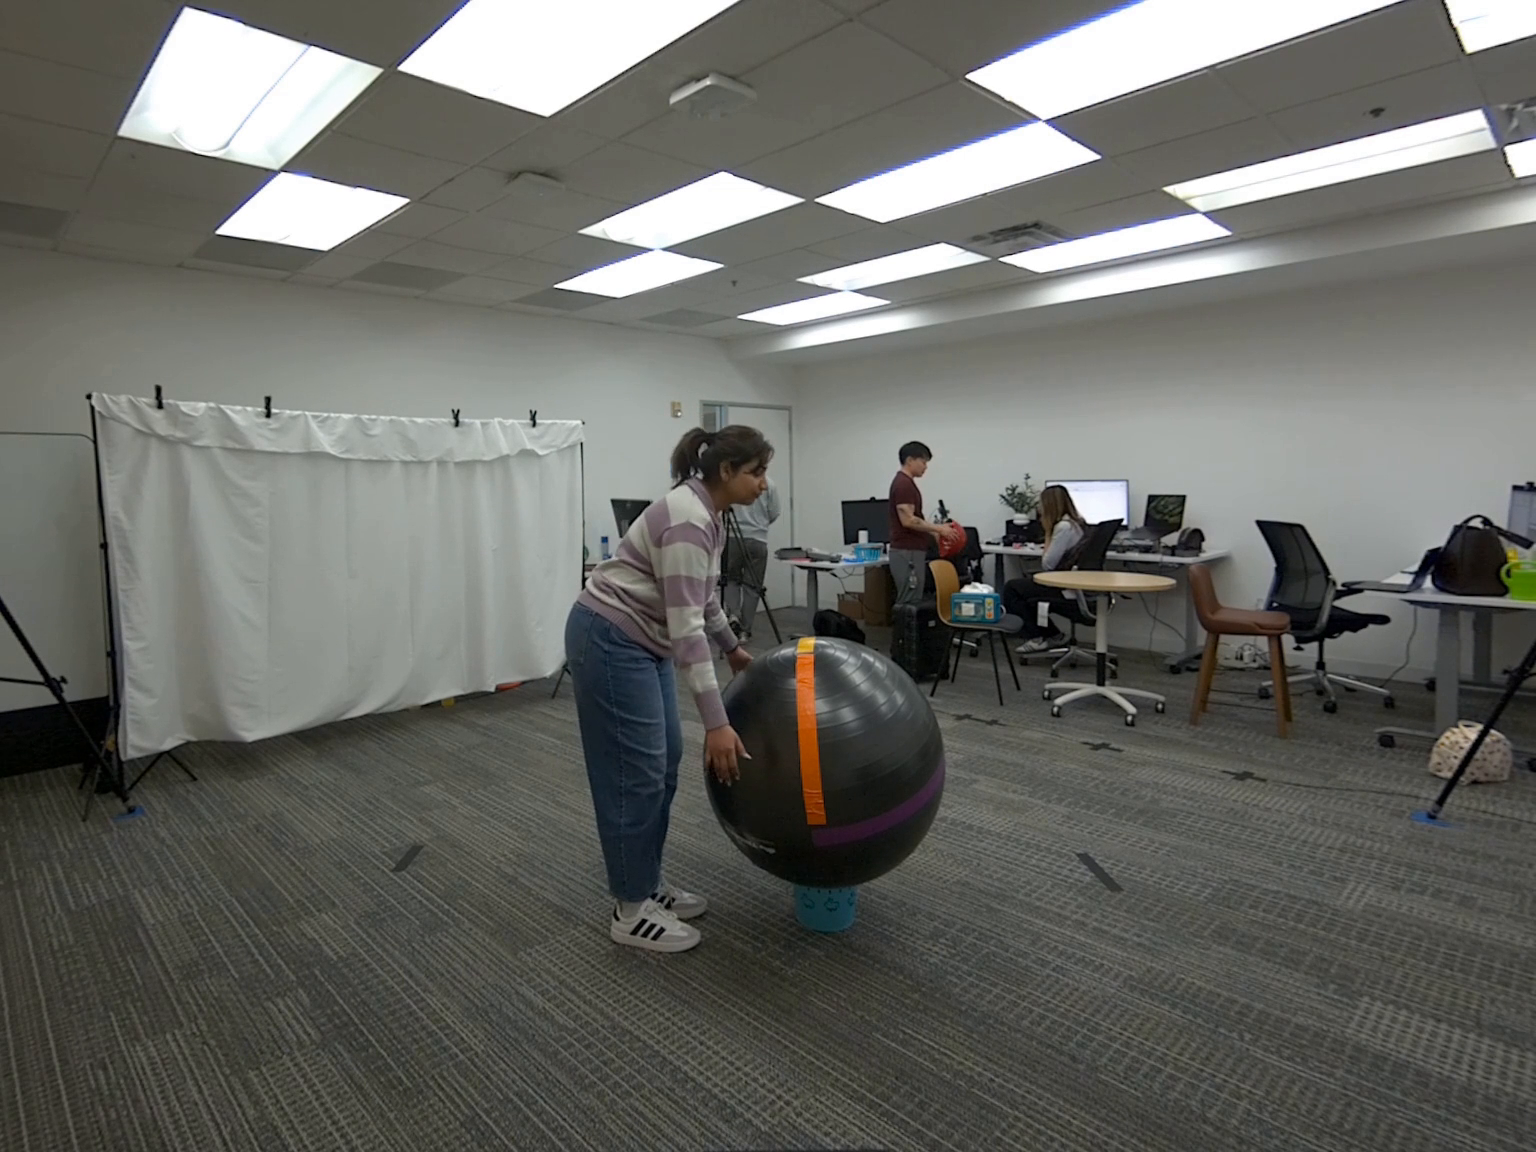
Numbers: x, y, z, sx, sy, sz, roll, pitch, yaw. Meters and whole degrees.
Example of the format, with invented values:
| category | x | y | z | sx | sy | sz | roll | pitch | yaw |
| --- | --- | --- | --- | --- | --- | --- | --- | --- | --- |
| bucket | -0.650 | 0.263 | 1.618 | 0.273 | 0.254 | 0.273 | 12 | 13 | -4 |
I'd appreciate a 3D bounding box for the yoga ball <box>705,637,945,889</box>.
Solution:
| category | x | y | z | sx | sy | sz | roll | pitch | yaw |
| --- | --- | --- | --- | --- | --- | --- | --- | --- | --- |
| yoga ball | 0.186 | 0.583 | 2.692 | 0.757 | 0.755 | 0.762 | -1 | 5 | -2 |
